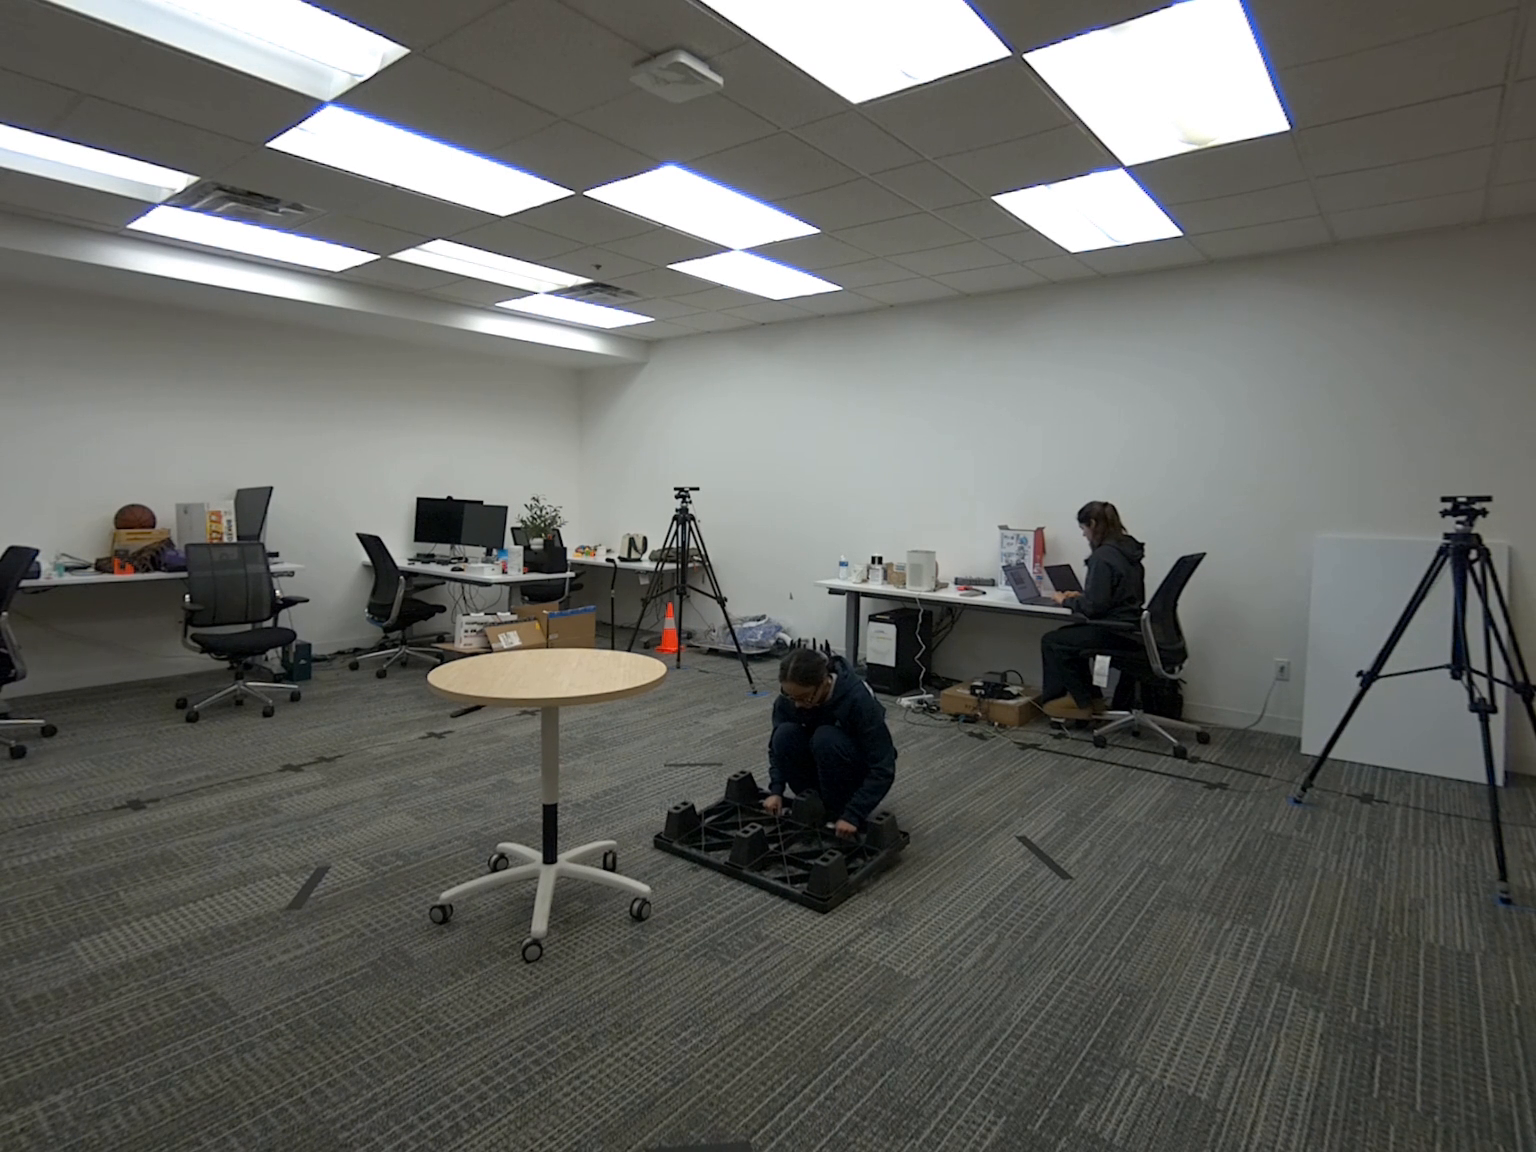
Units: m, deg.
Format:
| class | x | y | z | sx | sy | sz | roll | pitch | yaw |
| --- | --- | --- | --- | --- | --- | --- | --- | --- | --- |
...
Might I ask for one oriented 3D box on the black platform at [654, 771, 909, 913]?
| class | x | y | z | sx | sy | sz | roll | pitch | yaw |
| --- | --- | --- | --- | --- | --- | --- | --- | --- | --- |
| black platform | 0.024 | 0.966 | 3.248 | 0.832 | 0.142 | 0.590 | 5 | 12 | 38 |
